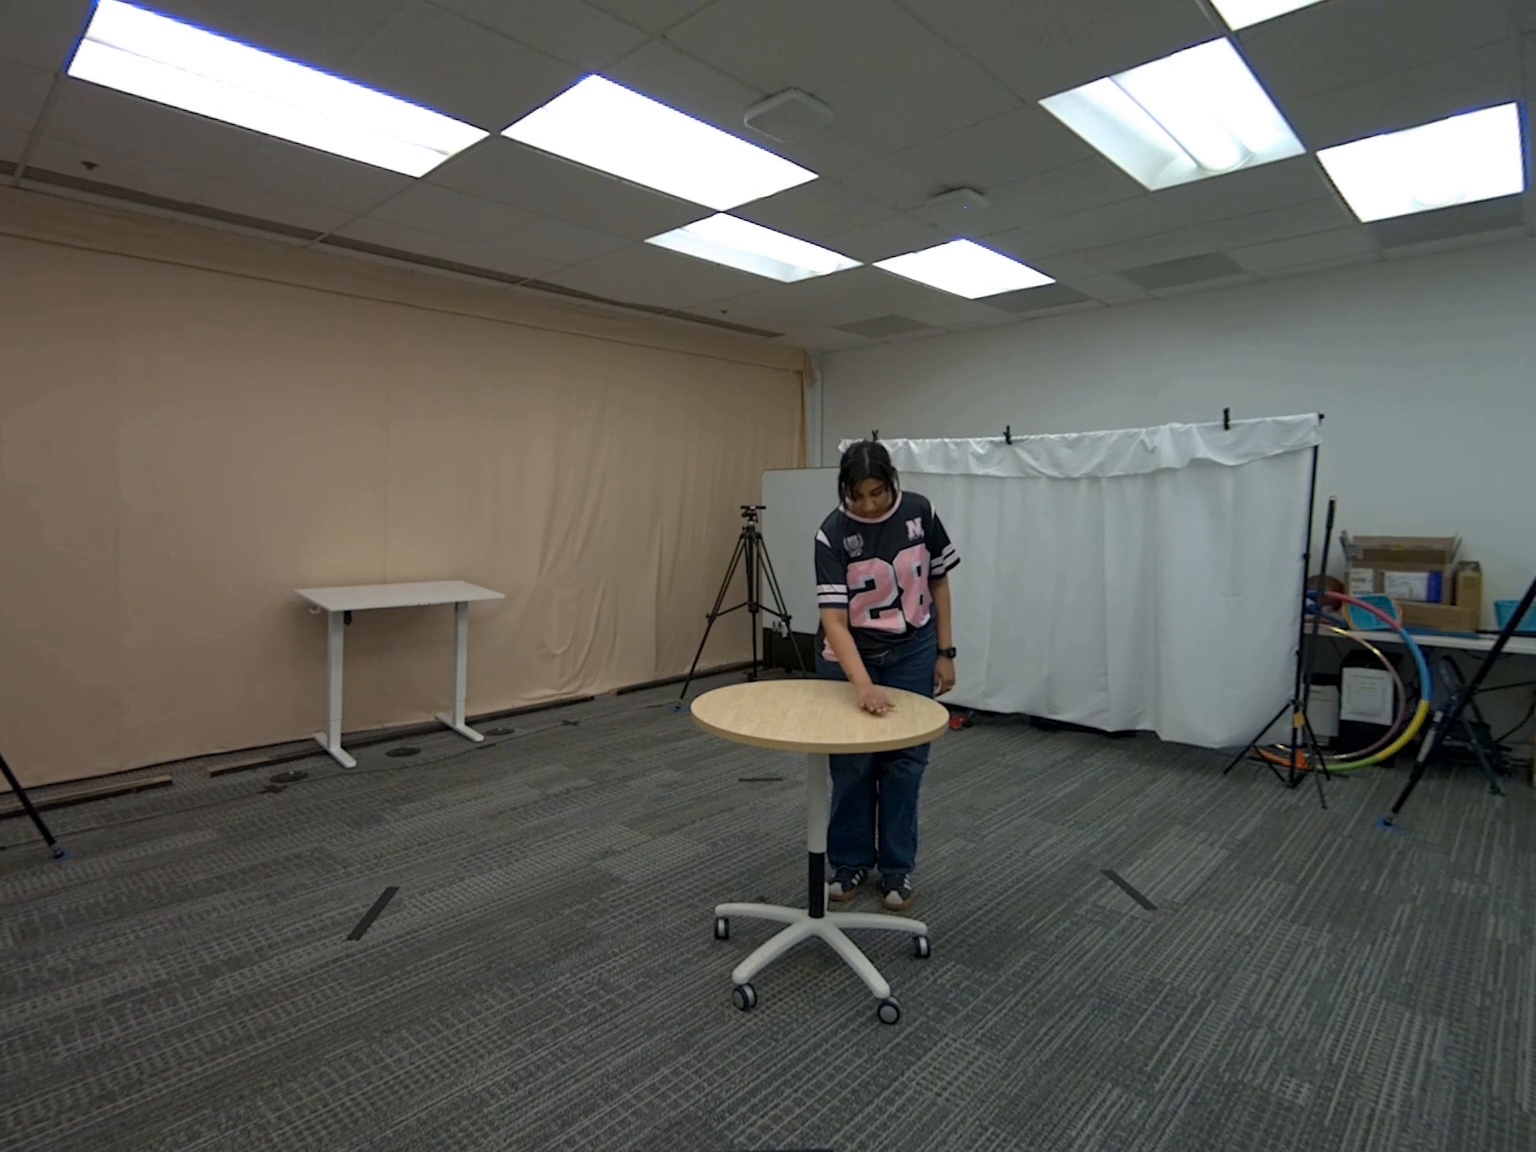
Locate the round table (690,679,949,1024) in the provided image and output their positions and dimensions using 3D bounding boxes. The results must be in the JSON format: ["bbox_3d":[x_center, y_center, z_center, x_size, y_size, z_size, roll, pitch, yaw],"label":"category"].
[{"bbox_3d":[0.164,0.787,2.552,0.784,0.785,0.788,0,4,-2],"label":"round table"}]
